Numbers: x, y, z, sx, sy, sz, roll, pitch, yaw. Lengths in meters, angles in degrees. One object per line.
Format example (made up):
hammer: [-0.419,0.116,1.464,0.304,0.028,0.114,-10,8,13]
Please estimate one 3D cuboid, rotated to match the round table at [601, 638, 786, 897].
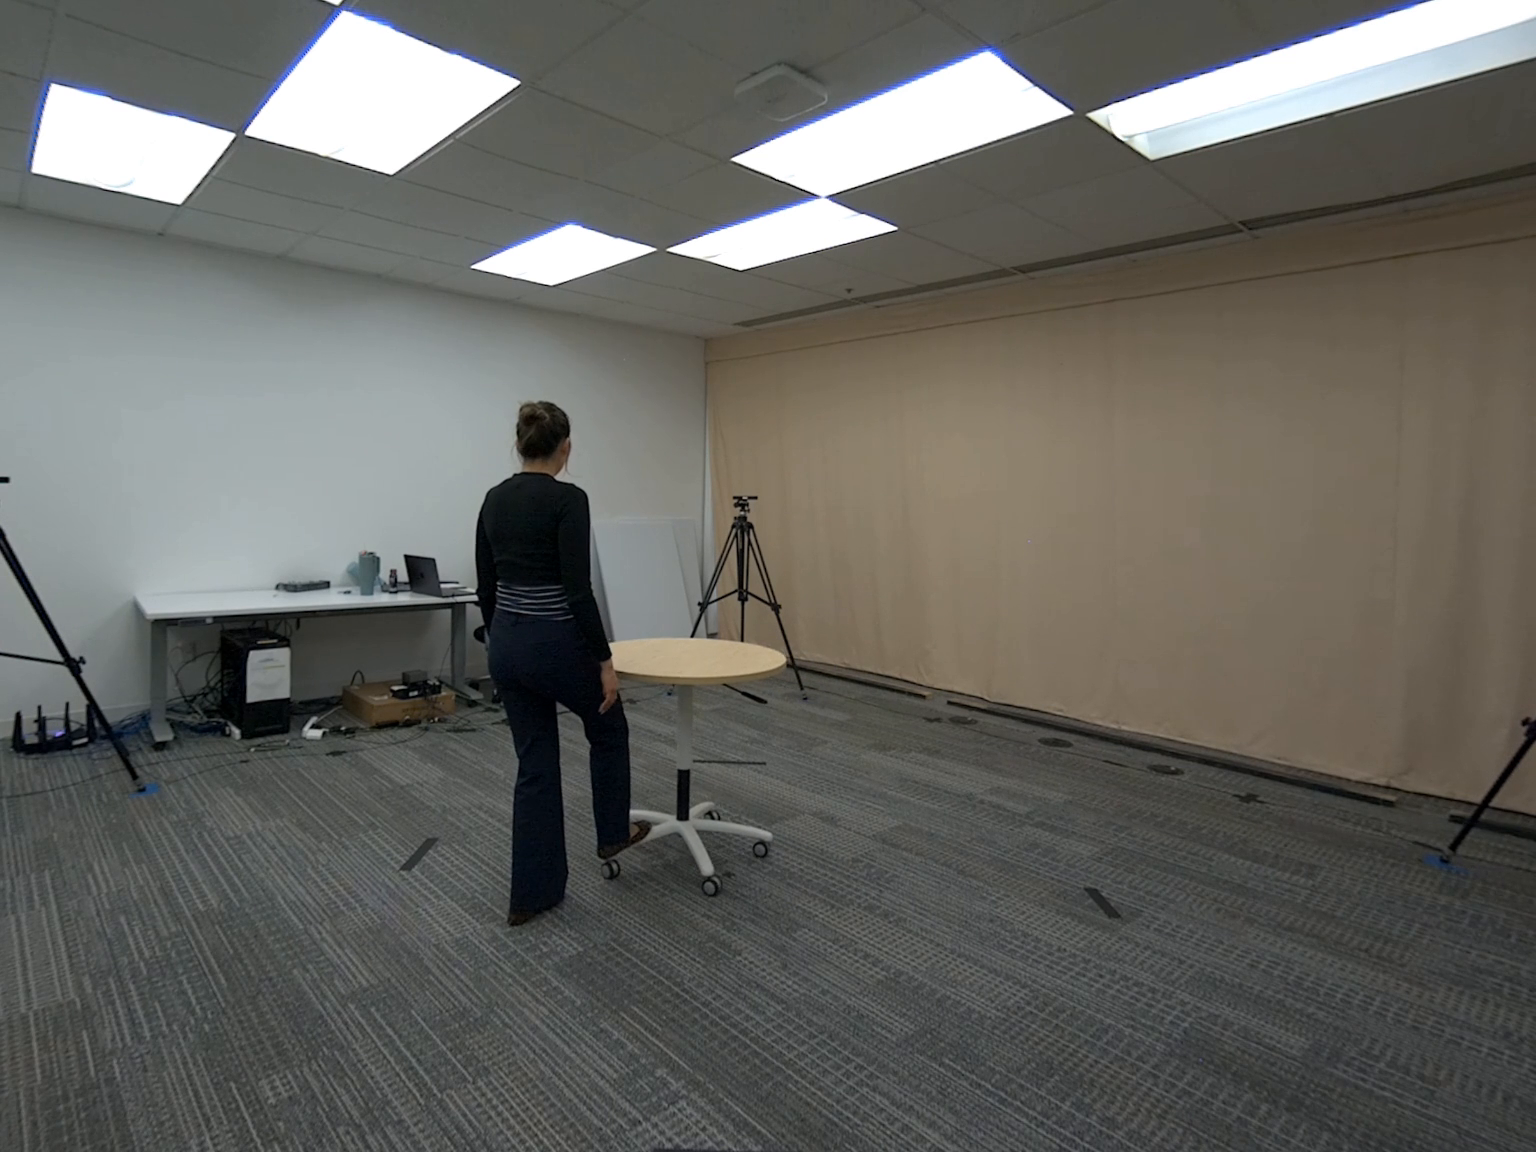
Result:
round table: [-0.323,0.698,3.250,0.763,0.792,0.767,2,4,-1]
